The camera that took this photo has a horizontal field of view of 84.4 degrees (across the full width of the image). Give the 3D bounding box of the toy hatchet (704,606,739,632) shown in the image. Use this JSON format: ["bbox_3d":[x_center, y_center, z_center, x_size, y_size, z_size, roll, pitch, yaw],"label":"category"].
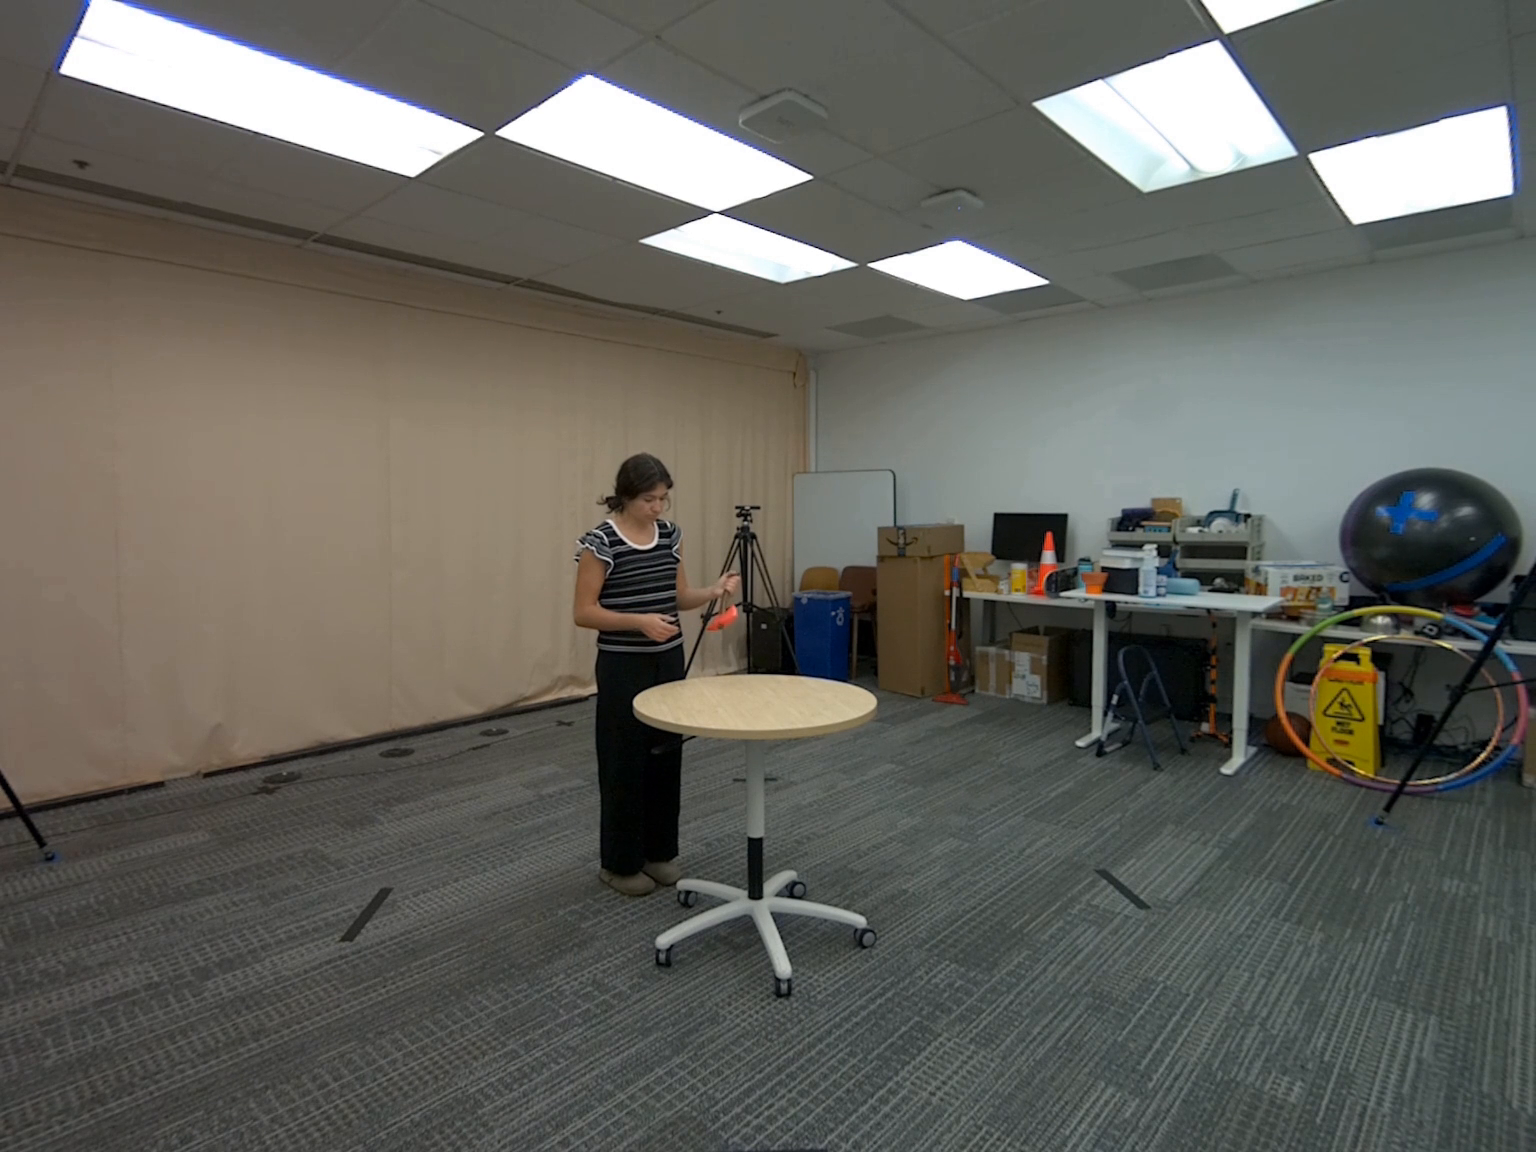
[{"bbox_3d":[-0.142,0.086,2.987,0.134,0.271,0.029,-15,-49,39],"label":"toy hatchet"}]
